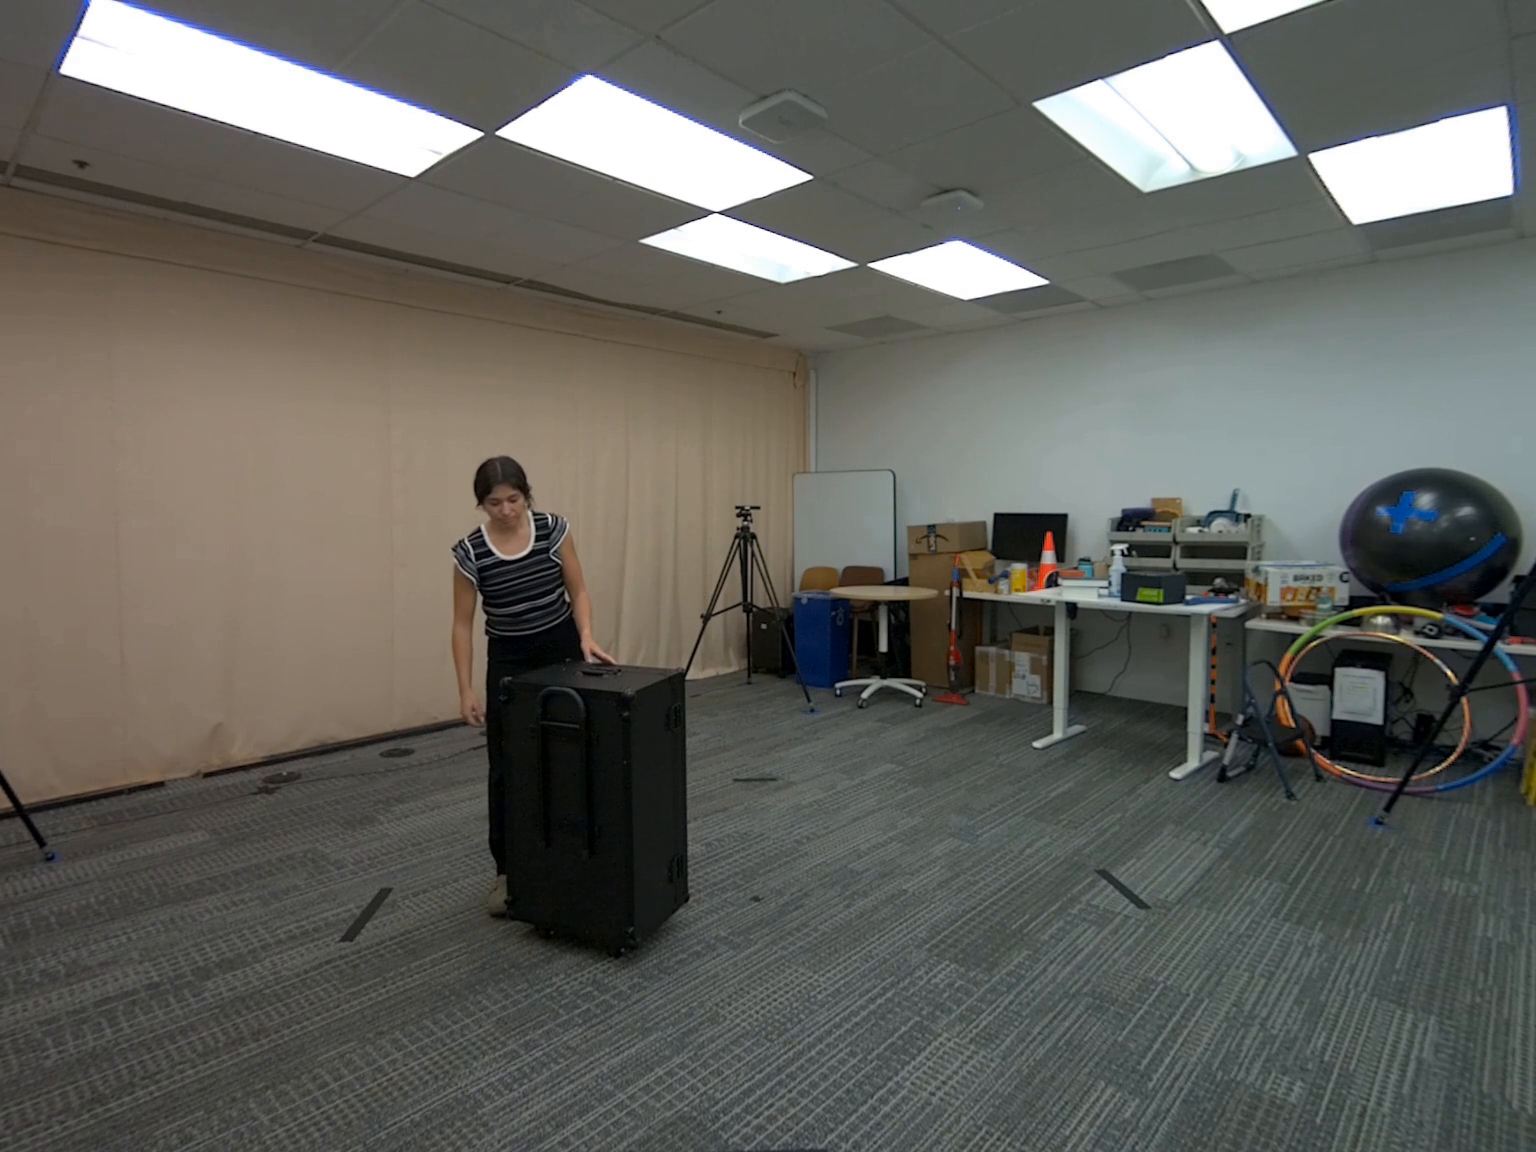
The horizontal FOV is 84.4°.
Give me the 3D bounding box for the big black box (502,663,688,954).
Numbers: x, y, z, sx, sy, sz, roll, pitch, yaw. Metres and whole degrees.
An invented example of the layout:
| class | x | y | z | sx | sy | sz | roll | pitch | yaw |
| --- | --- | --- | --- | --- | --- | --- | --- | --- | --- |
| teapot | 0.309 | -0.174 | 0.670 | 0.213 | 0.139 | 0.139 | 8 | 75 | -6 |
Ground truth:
| class | x | y | z | sx | sy | sz | roll | pitch | yaw |
| --- | --- | --- | --- | --- | --- | --- | --- | --- | --- |
| big black box | -0.549 | 0.748 | 2.735 | 0.535 | 0.859 | 0.387 | 1 | 5 | 26 |
